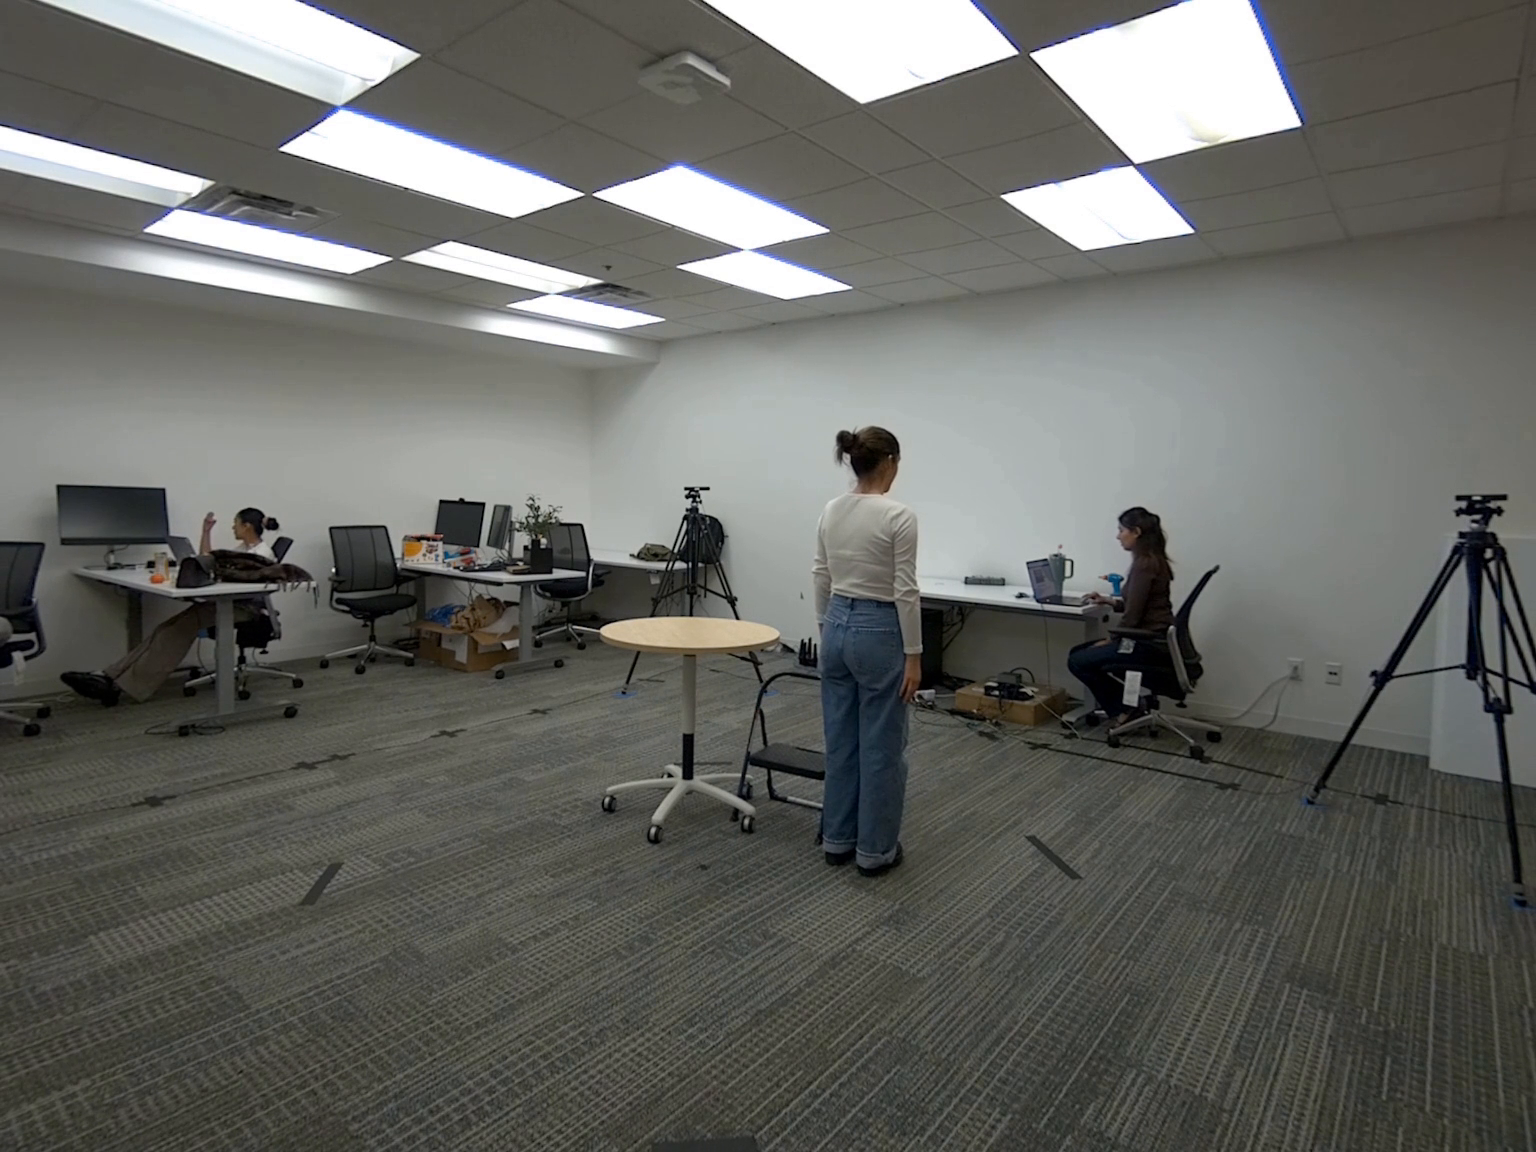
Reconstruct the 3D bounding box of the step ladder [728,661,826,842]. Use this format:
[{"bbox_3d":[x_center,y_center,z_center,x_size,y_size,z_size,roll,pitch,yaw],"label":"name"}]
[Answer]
[{"bbox_3d":[0.111,0.717,3.575,0.444,0.604,0.340,4,4,31],"label":"step ladder"}]
